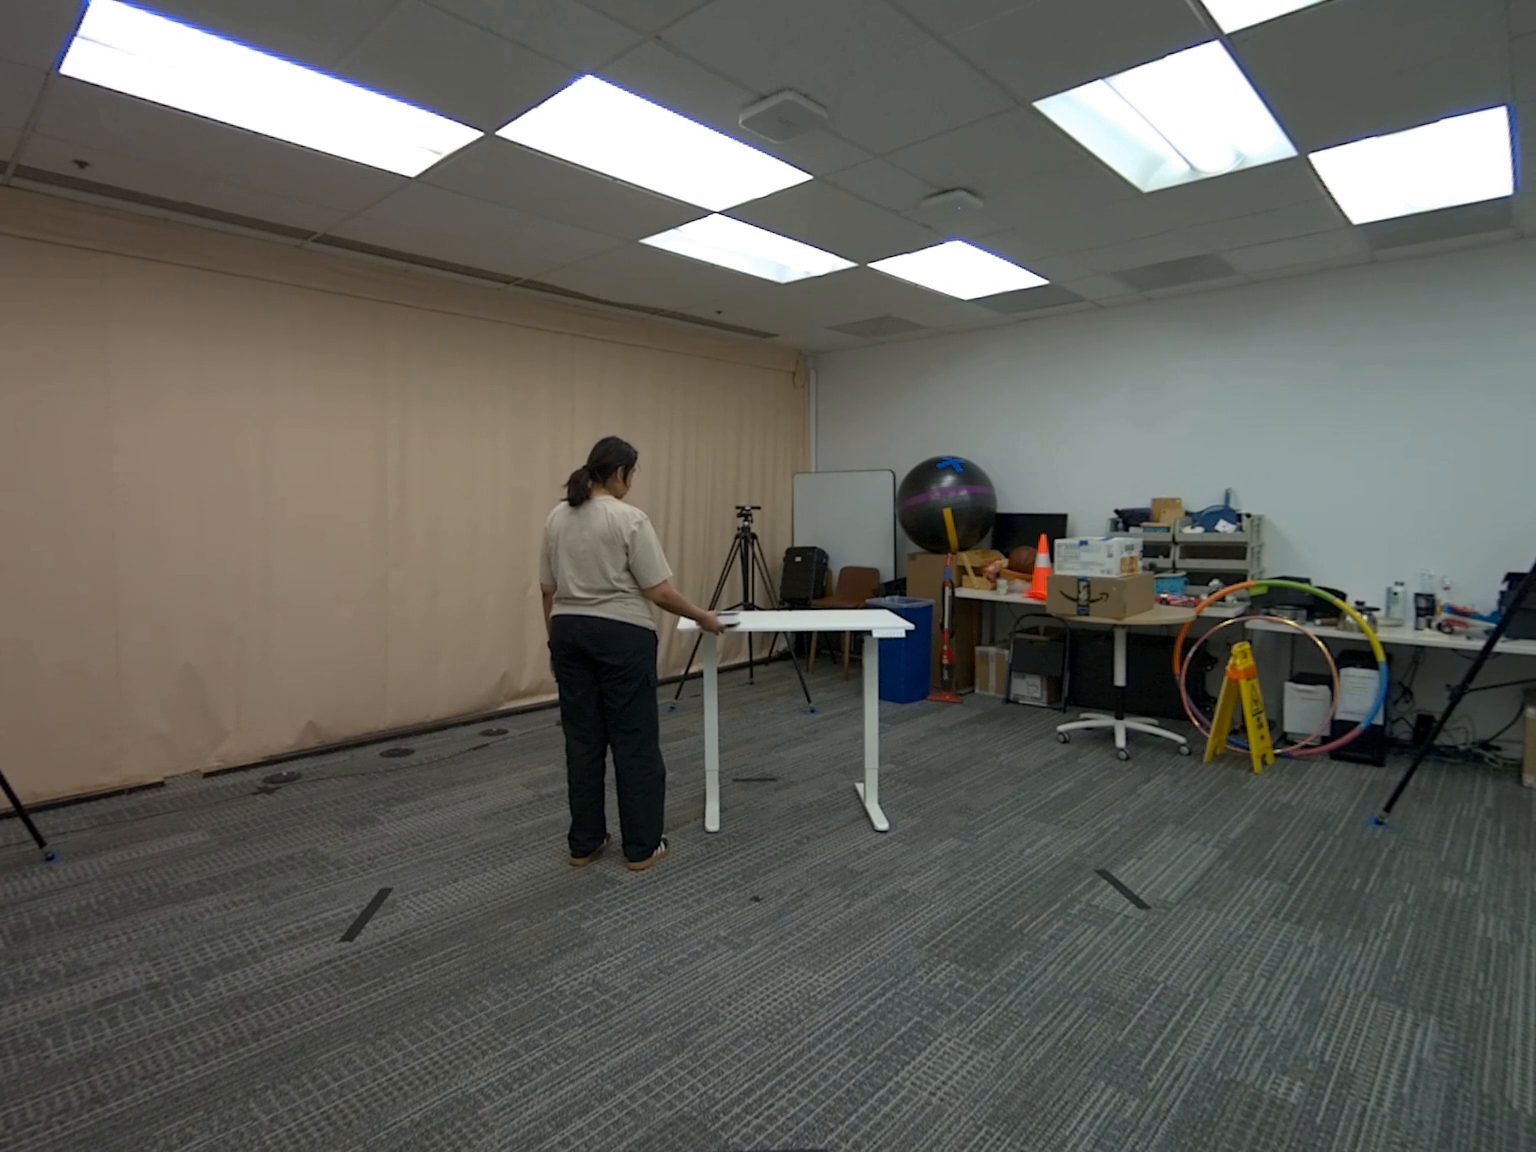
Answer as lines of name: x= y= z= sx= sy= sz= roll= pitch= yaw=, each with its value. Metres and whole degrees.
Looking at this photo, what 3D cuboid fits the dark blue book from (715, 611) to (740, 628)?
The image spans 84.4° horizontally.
dark blue book: x=-0.213 y=0.185 z=3.604 sx=0.165 sy=0.045 sz=0.243 roll=0 pitch=1 yaw=6
